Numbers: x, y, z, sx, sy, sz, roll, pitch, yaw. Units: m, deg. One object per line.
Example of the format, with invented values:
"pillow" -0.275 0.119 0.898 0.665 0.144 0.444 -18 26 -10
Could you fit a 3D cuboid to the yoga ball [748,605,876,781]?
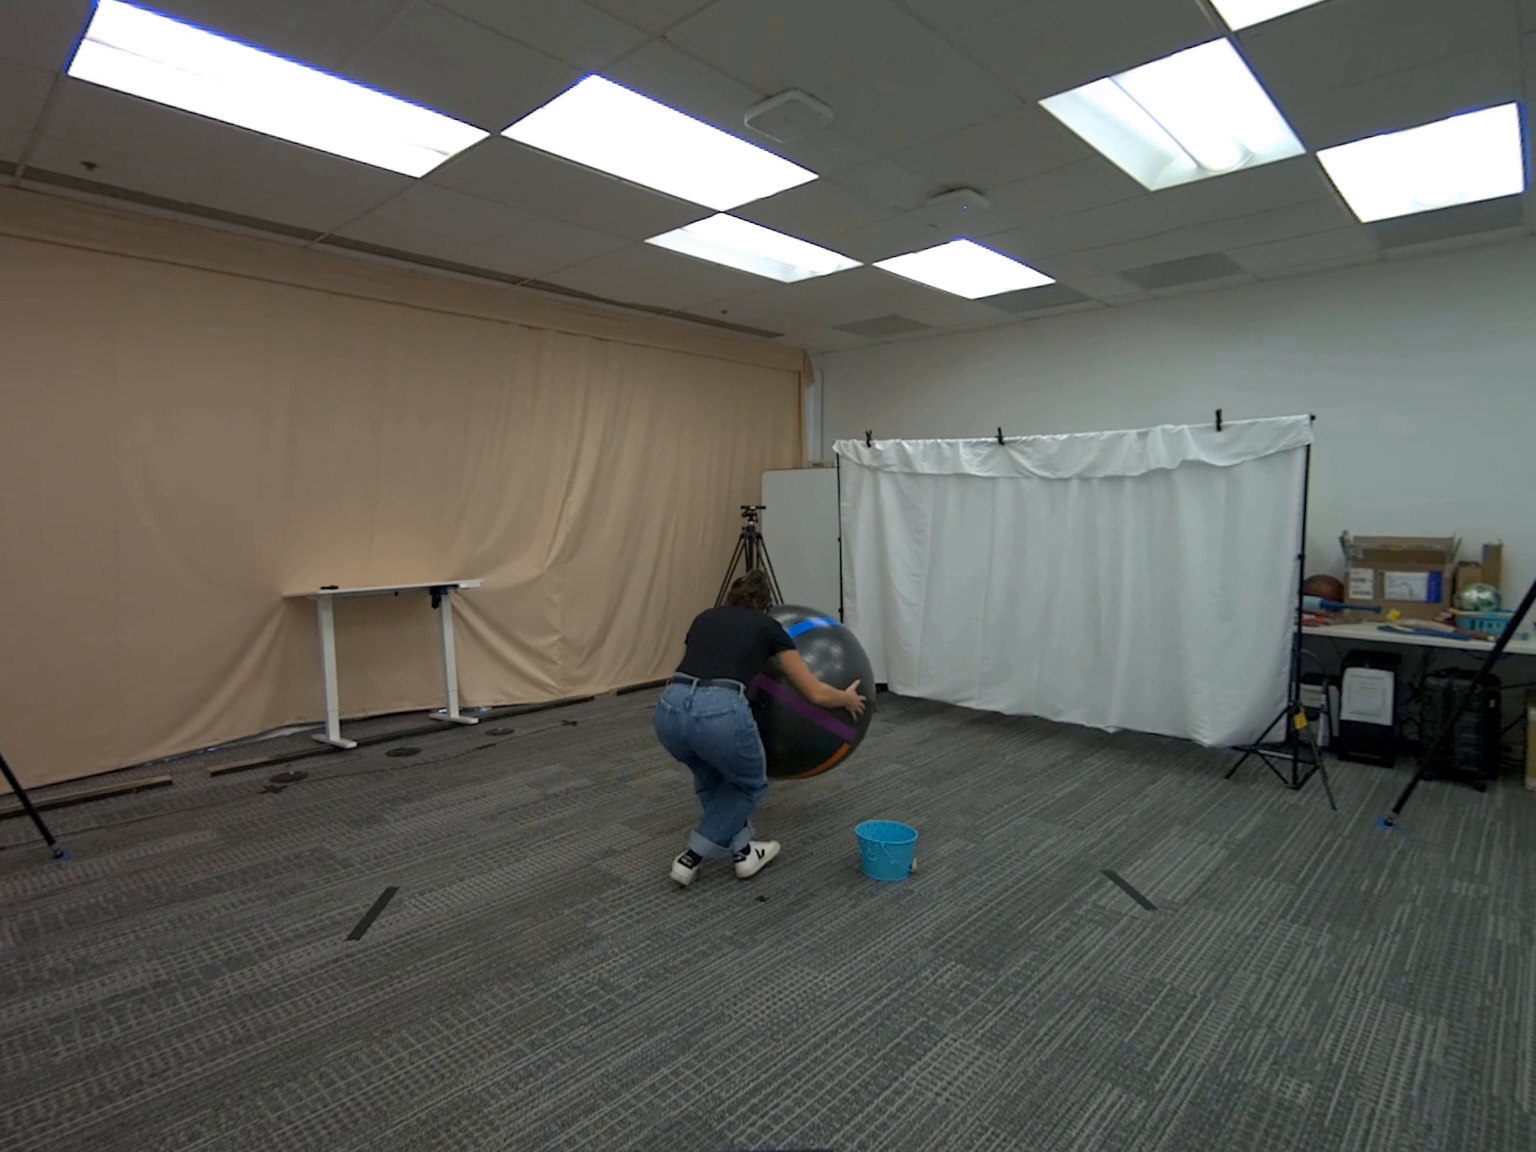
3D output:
"yoga ball" 0.101 0.511 3.729 0.757 0.756 0.760 0 4 -2
